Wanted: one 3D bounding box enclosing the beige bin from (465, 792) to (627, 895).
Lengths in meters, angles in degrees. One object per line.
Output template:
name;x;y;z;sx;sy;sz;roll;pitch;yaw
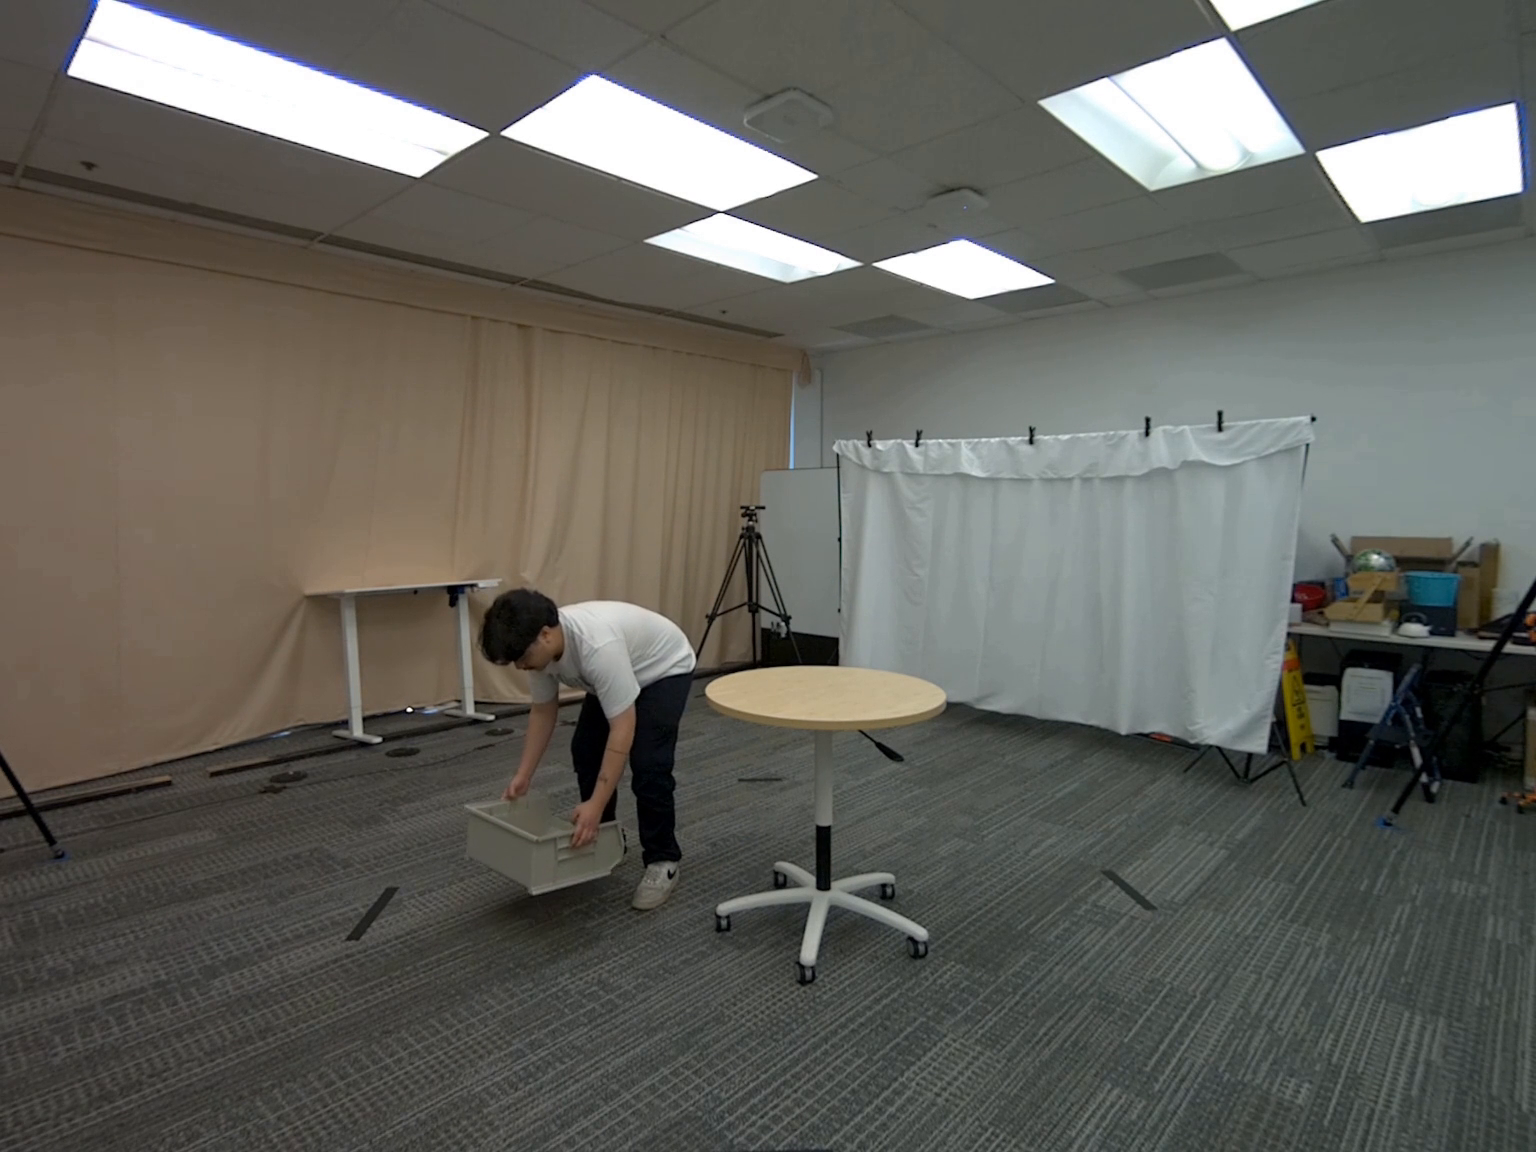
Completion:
beige bin;-0.761;0.893;2.878;0.436;0.189;0.365;5;1;41
